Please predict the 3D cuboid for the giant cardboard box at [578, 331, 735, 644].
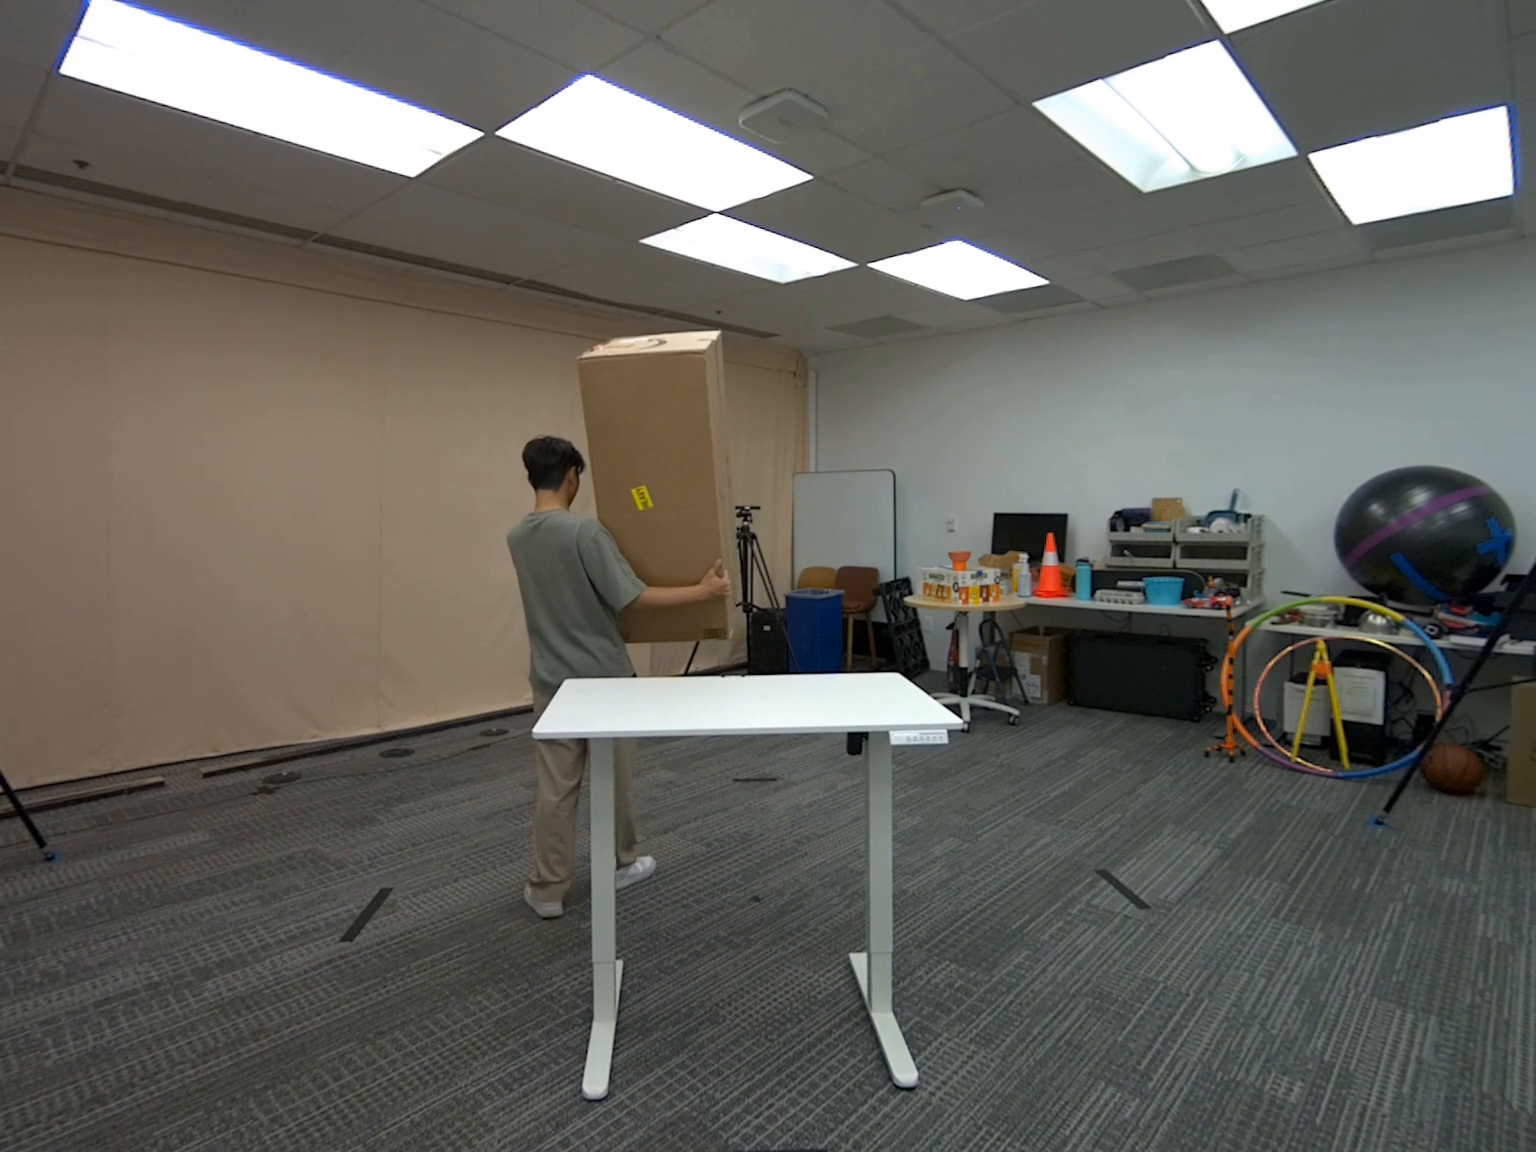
[{"bbox_3d":[-0.367,-0.339,3.113,0.429,1.012,0.582,-2,20,4],"label":"giant cardboard box"}]
